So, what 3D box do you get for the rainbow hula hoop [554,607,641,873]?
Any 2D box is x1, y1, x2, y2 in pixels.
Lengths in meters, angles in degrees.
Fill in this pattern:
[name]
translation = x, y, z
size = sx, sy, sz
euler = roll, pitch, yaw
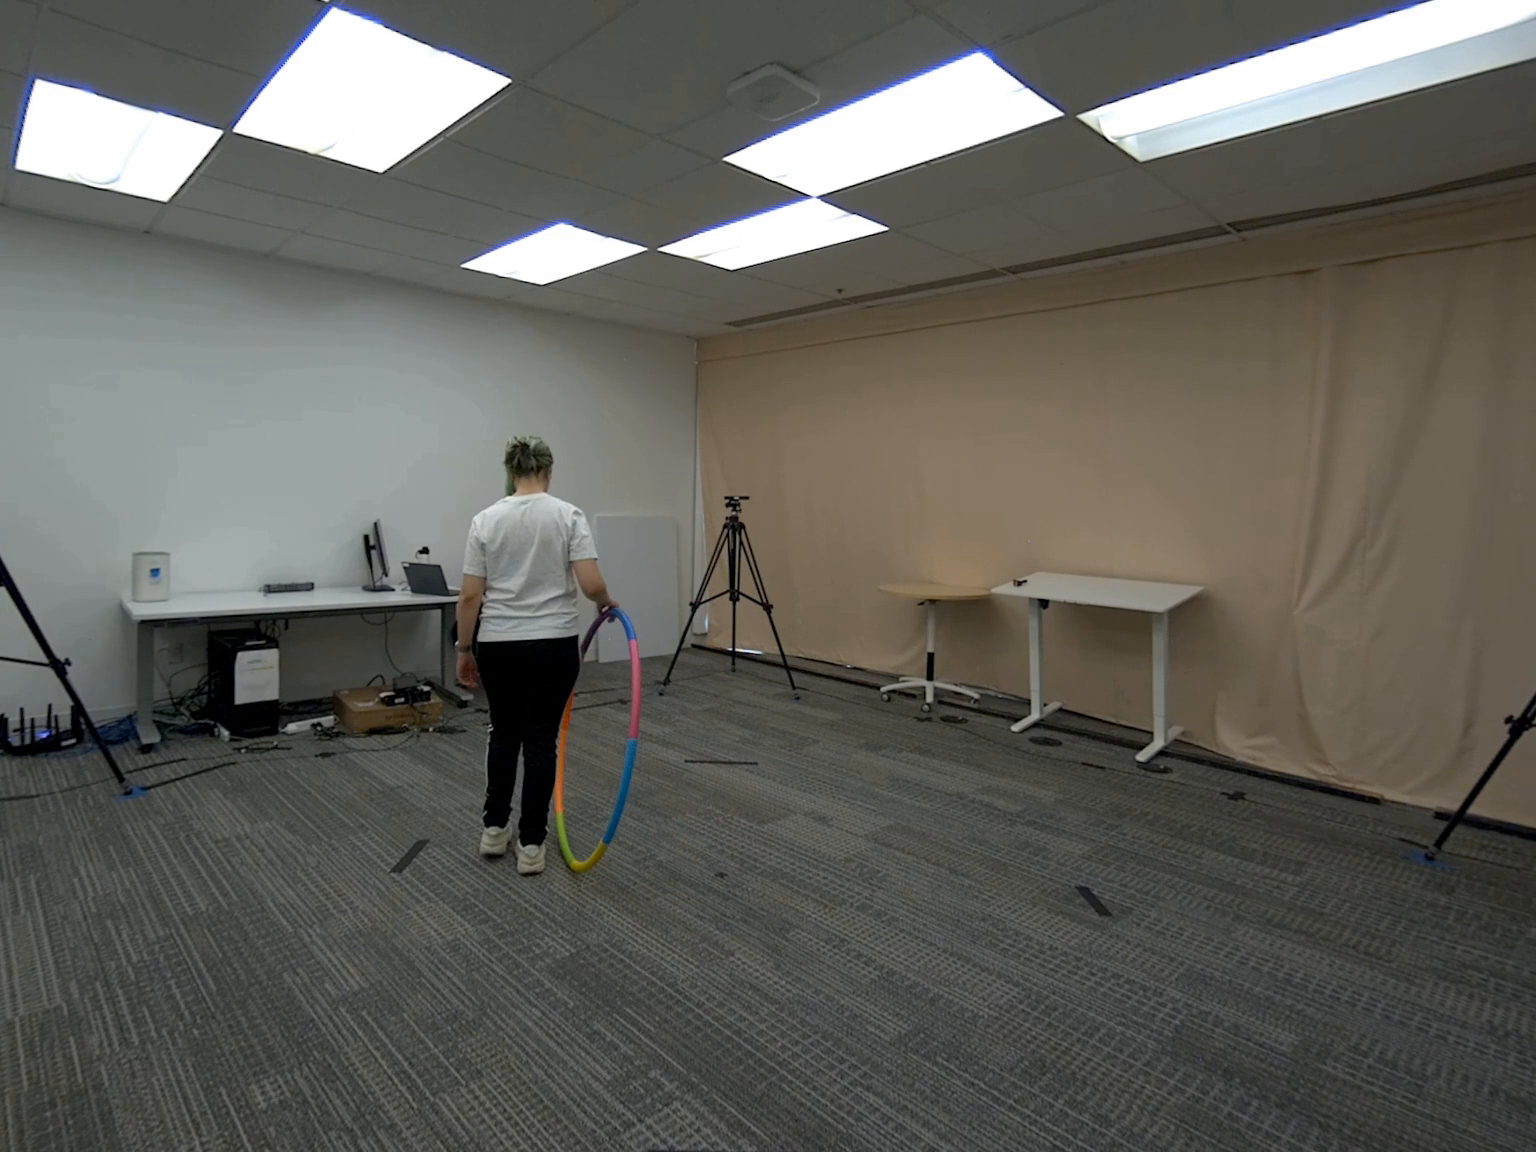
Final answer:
[rainbow hula hoop]
translation = -0.670, 0.604, 3.203
size = 0.035, 0.979, 0.998
euler = 12, 0, -25
